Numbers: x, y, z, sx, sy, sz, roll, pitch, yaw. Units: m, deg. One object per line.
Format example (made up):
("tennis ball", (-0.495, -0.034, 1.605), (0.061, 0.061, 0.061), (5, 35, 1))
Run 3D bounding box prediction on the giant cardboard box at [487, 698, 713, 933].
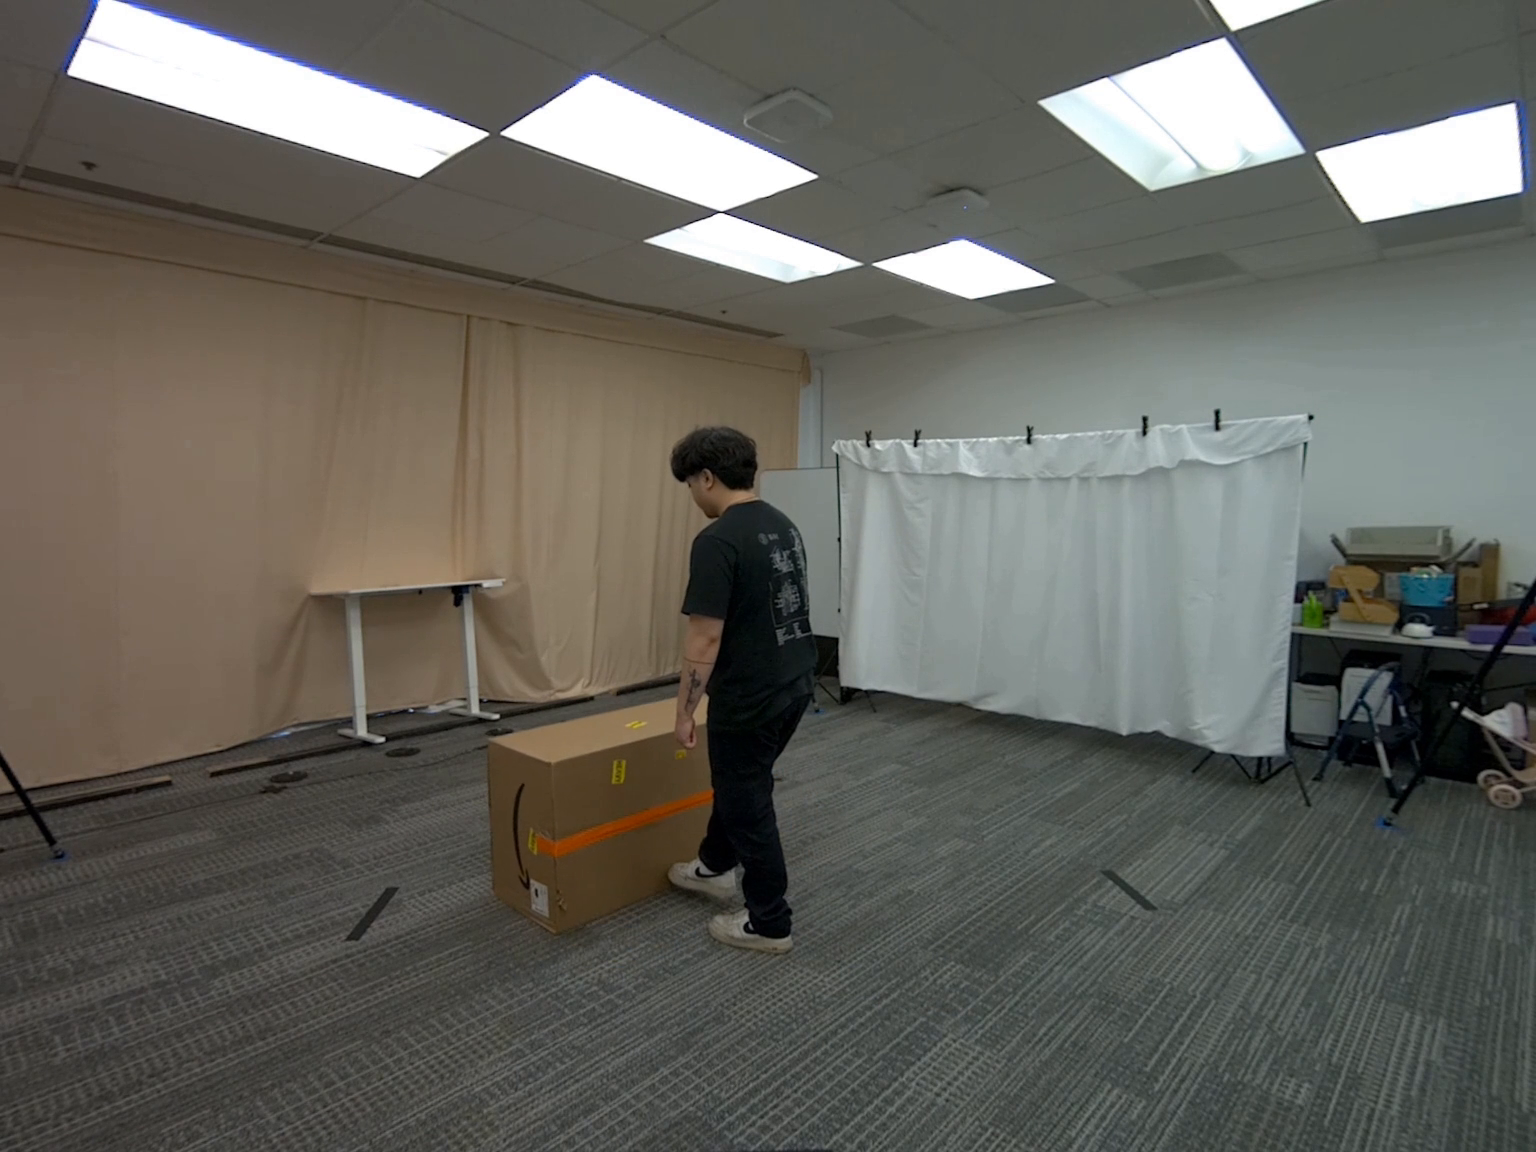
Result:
("giant cardboard box", (-0.496, 0.841, 3.217), (0.462, 0.582, 0.996), (4, 6, 45))
